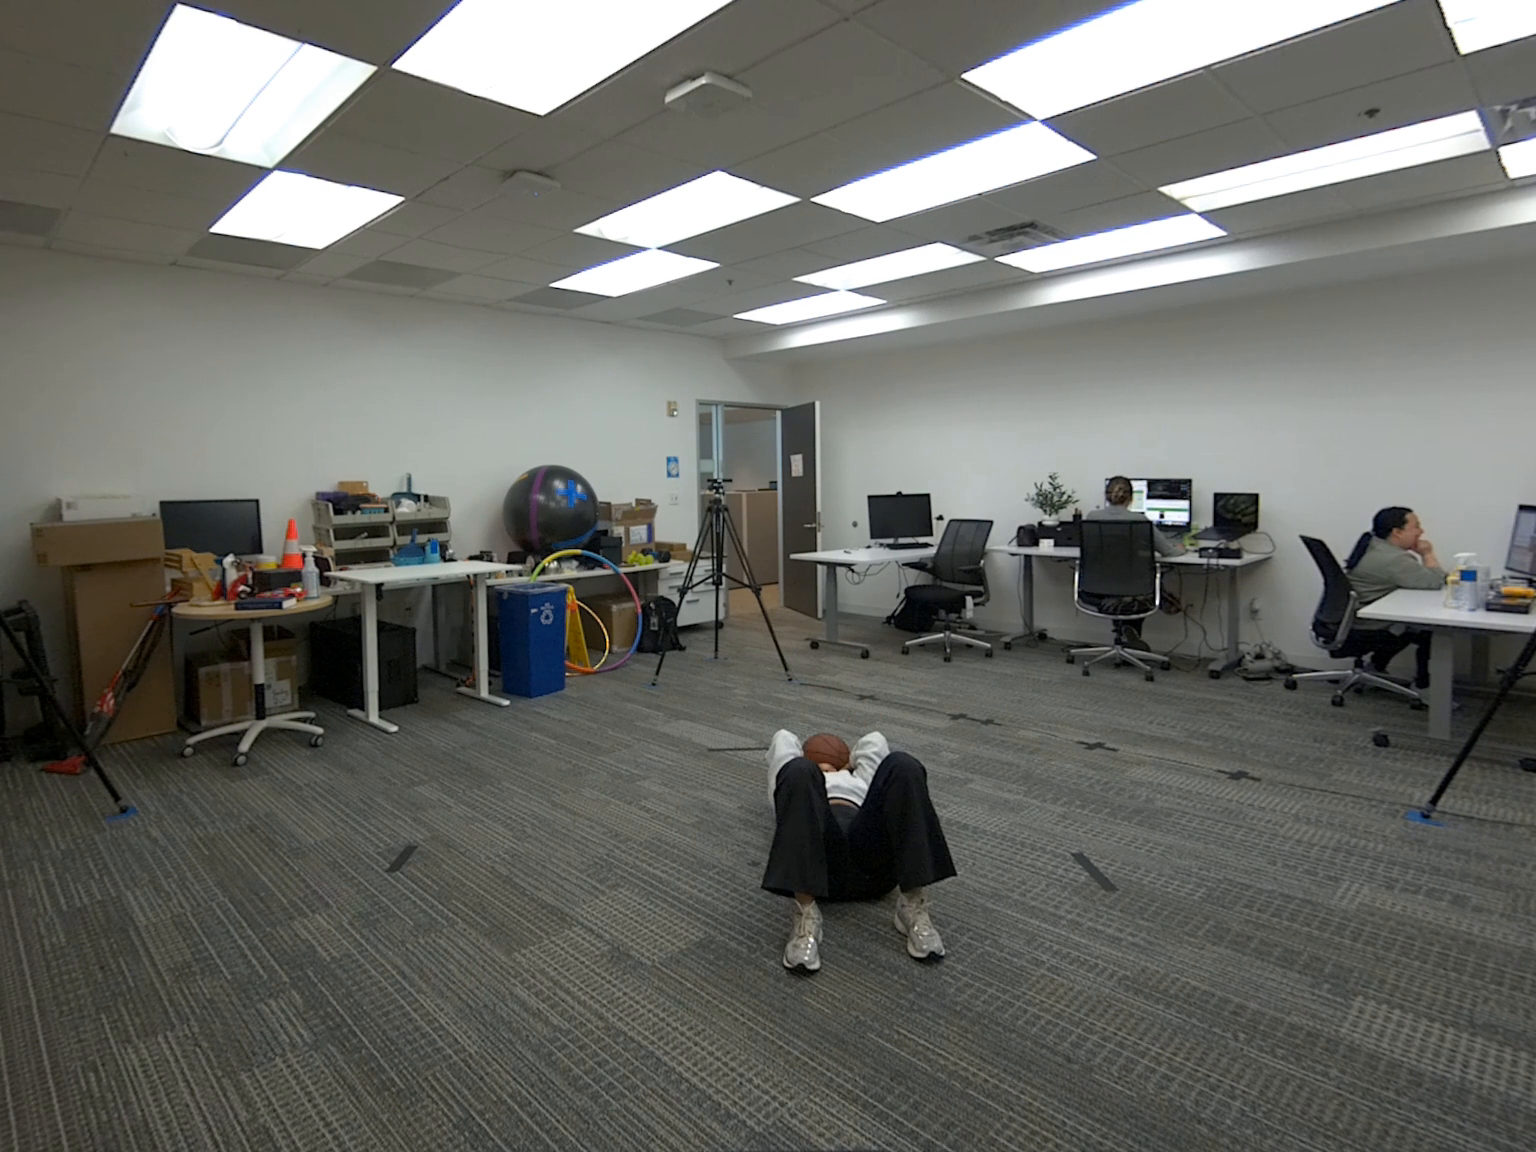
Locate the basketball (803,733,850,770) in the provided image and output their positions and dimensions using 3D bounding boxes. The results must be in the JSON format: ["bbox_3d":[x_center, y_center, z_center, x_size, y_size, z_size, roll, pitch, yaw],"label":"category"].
[{"bbox_3d":[0.251,0.805,3.839,0.236,0.235,0.237,-1,5,-2],"label":"basketball"}]
